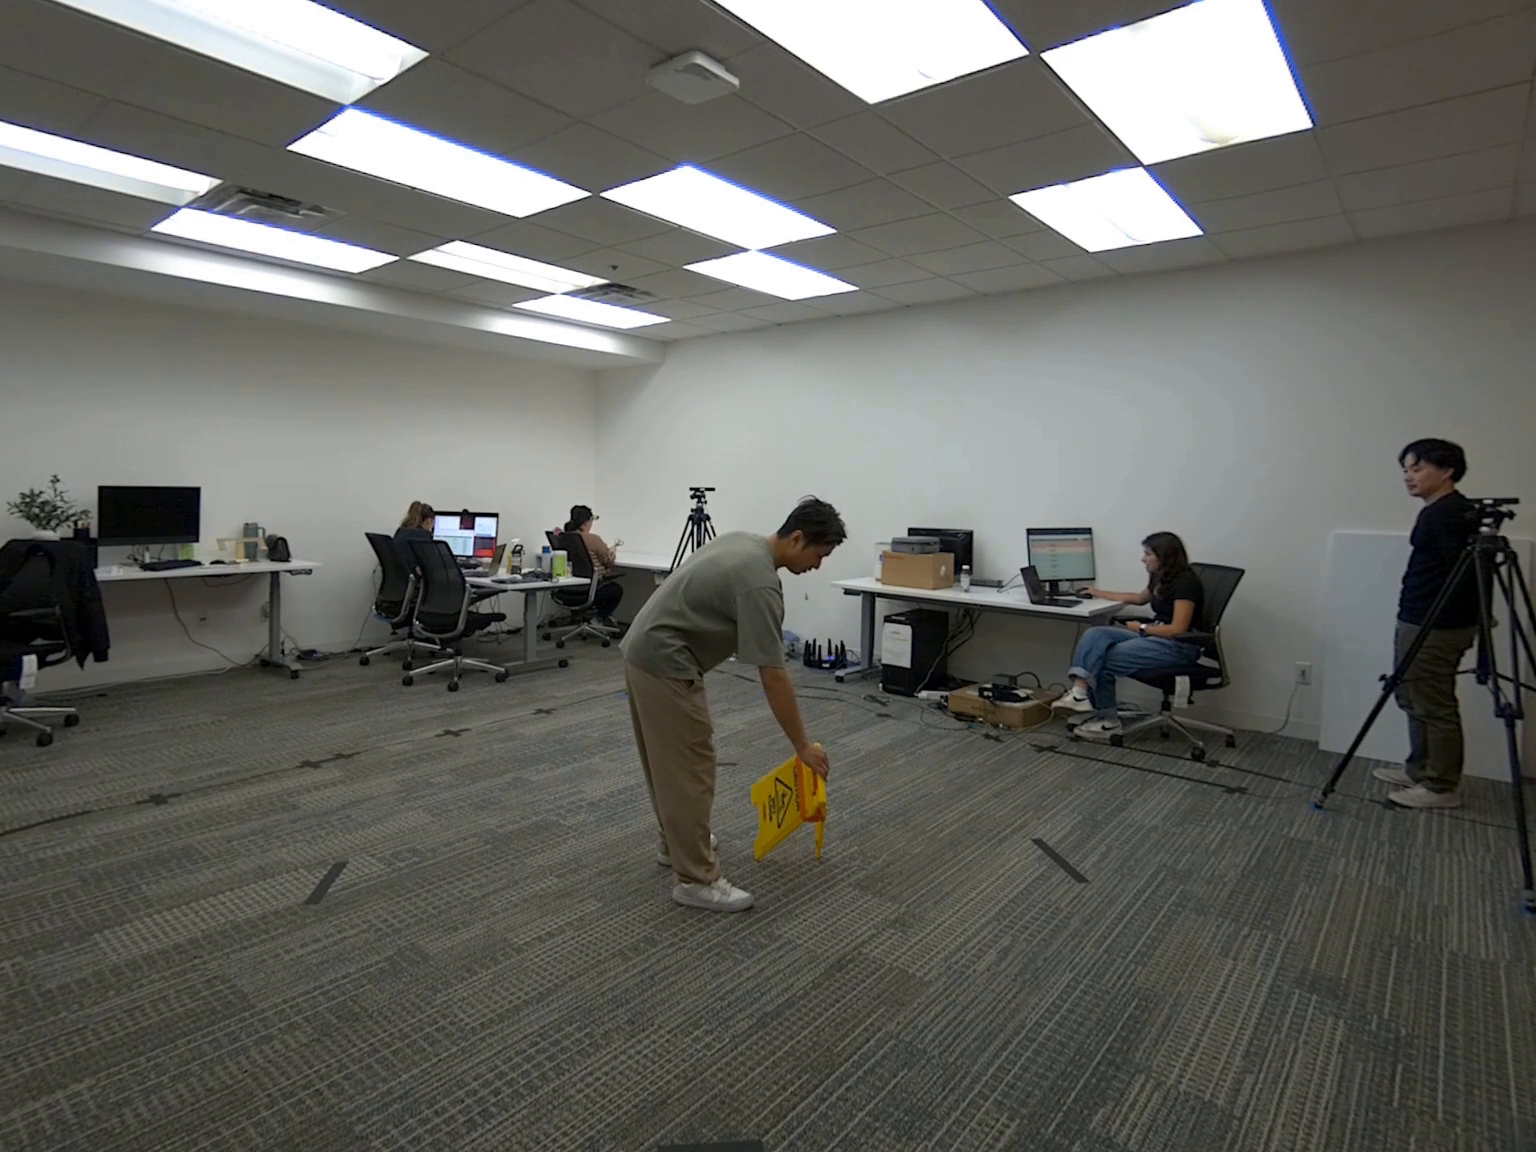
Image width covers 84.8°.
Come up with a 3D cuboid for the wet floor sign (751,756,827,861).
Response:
[{"bbox_3d":[0.107,0.789,3.013,0.287,0.290,0.634,2,-30,-9],"label":"wet floor sign"}]
